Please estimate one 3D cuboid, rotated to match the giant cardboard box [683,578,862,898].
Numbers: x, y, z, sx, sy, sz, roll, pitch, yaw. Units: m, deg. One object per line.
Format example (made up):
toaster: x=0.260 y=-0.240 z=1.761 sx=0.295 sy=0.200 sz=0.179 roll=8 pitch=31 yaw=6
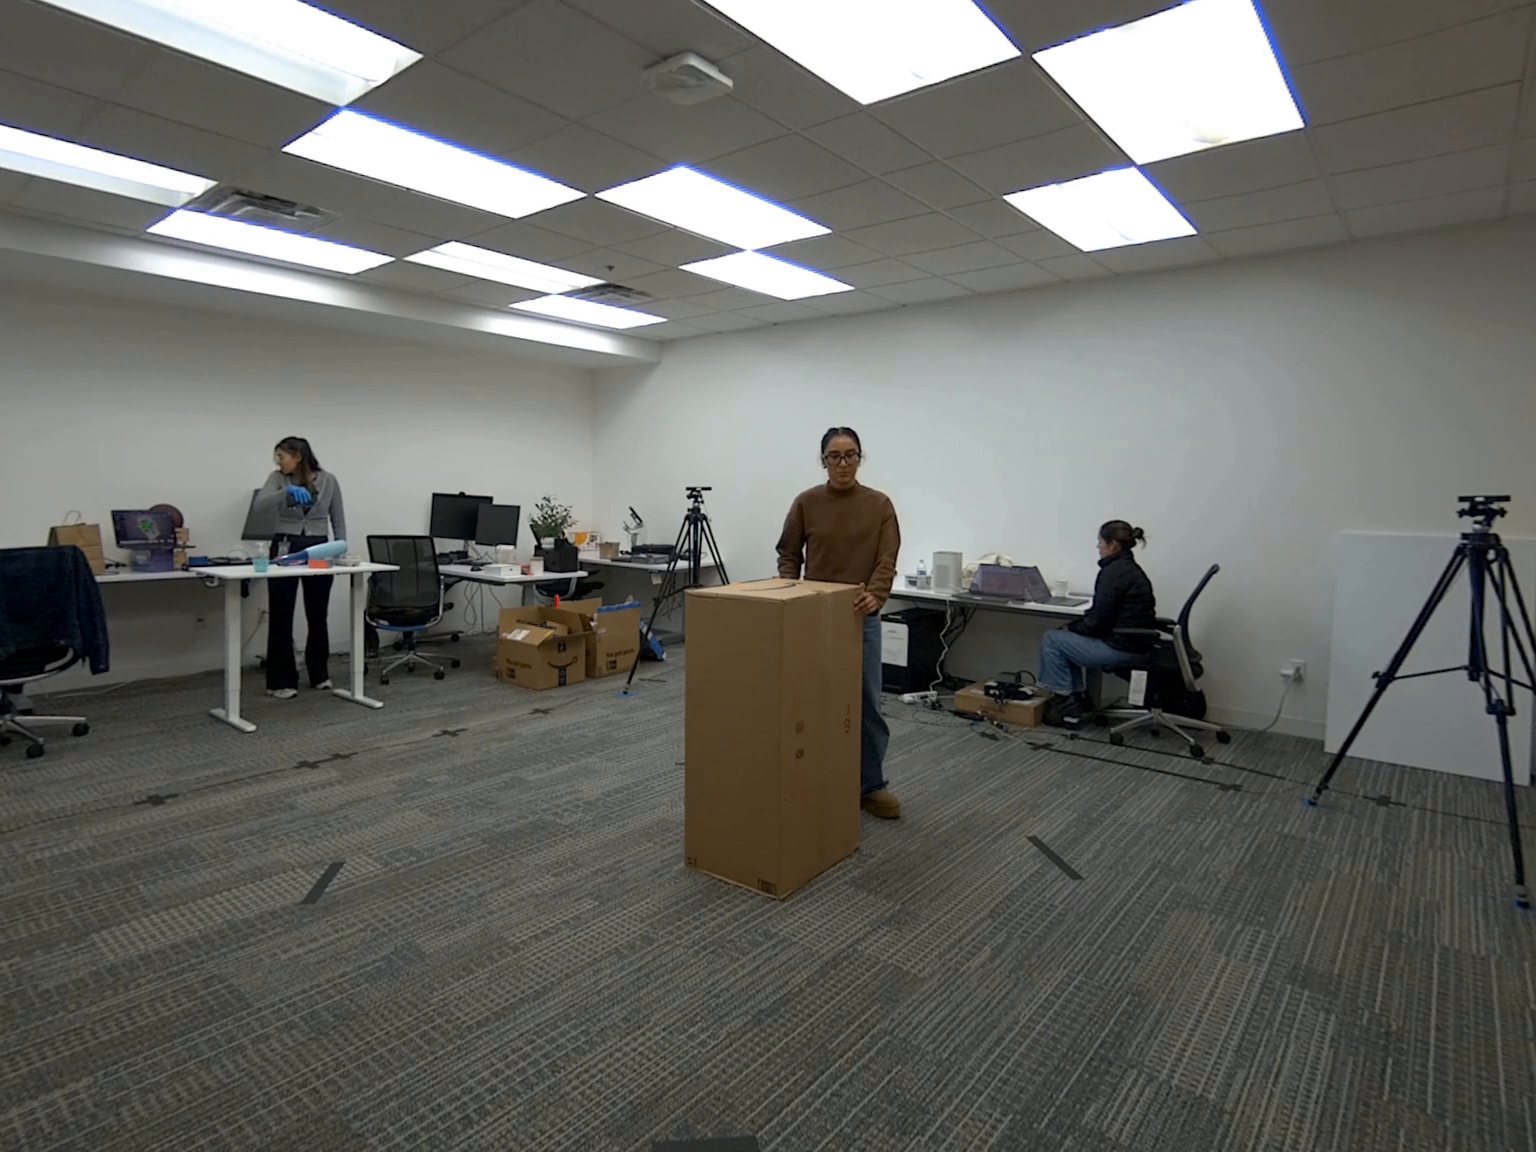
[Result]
giant cardboard box: x=0.014 y=0.553 z=3.188 sx=0.440 sy=1.023 sz=0.561 roll=3 pitch=4 yaw=36
